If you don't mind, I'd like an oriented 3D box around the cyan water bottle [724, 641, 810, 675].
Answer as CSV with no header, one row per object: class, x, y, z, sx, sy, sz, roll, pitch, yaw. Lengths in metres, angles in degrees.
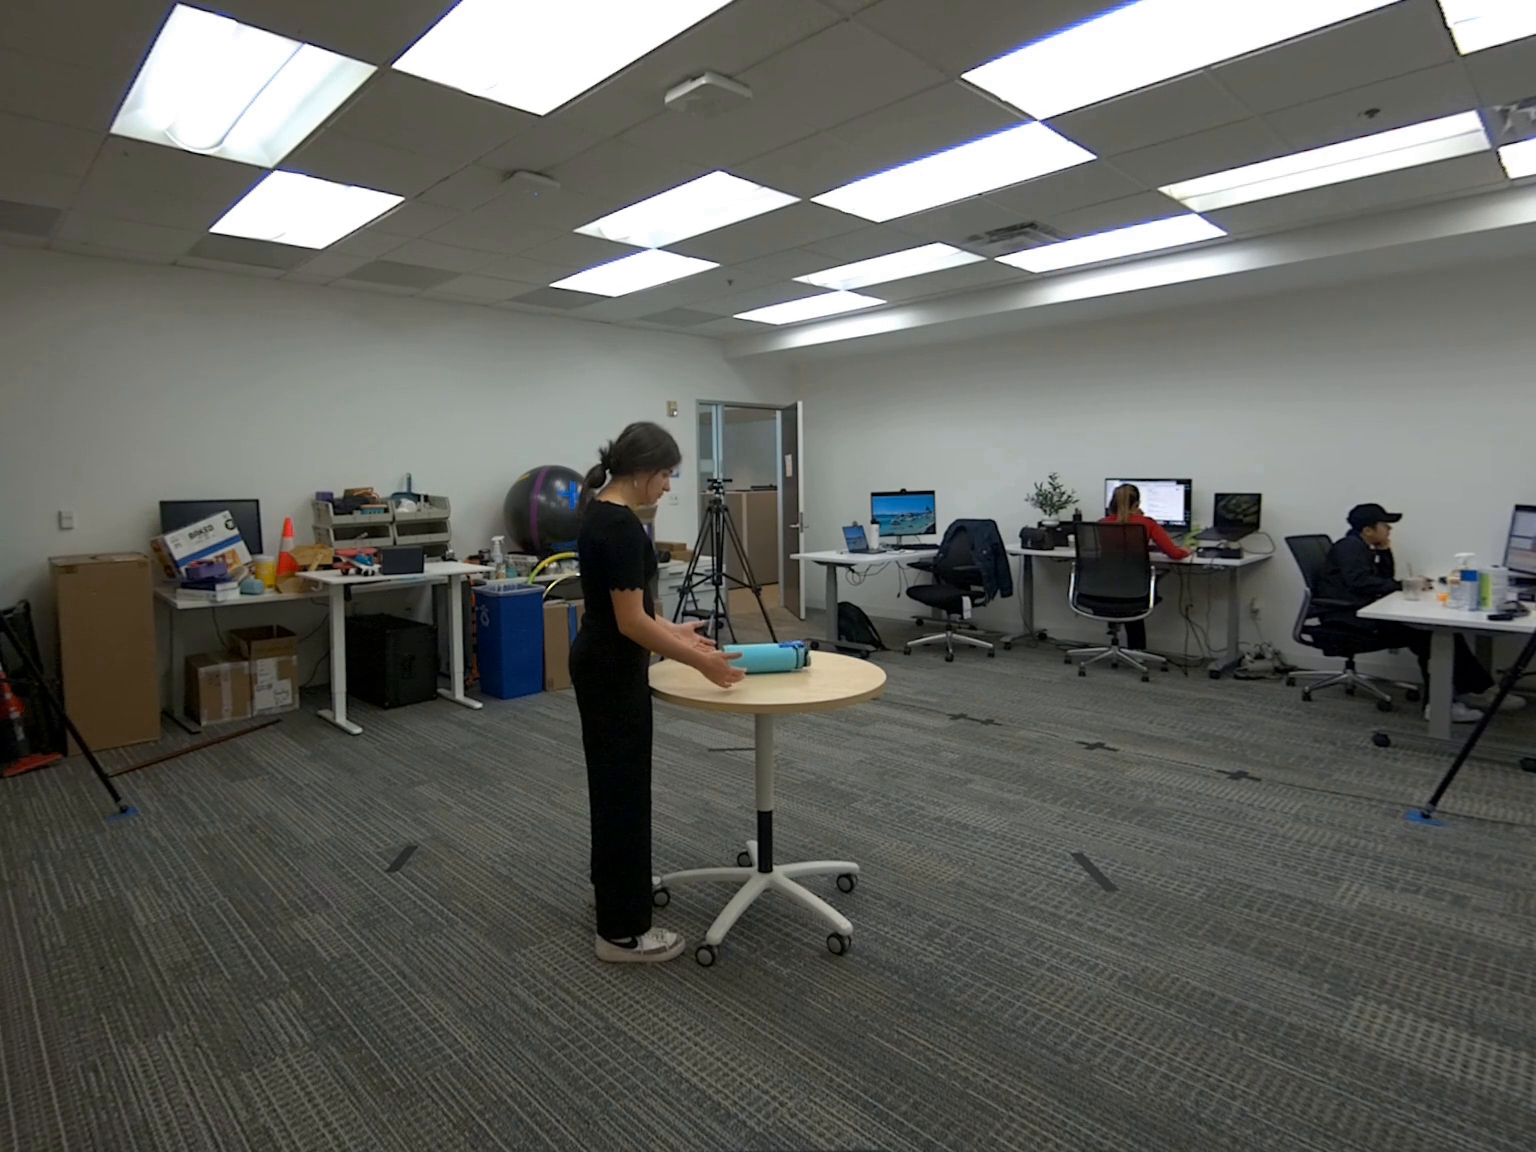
cyan water bottle,0.007,0.265,2.694,0.280,0.092,0.094,-1,5,-12
